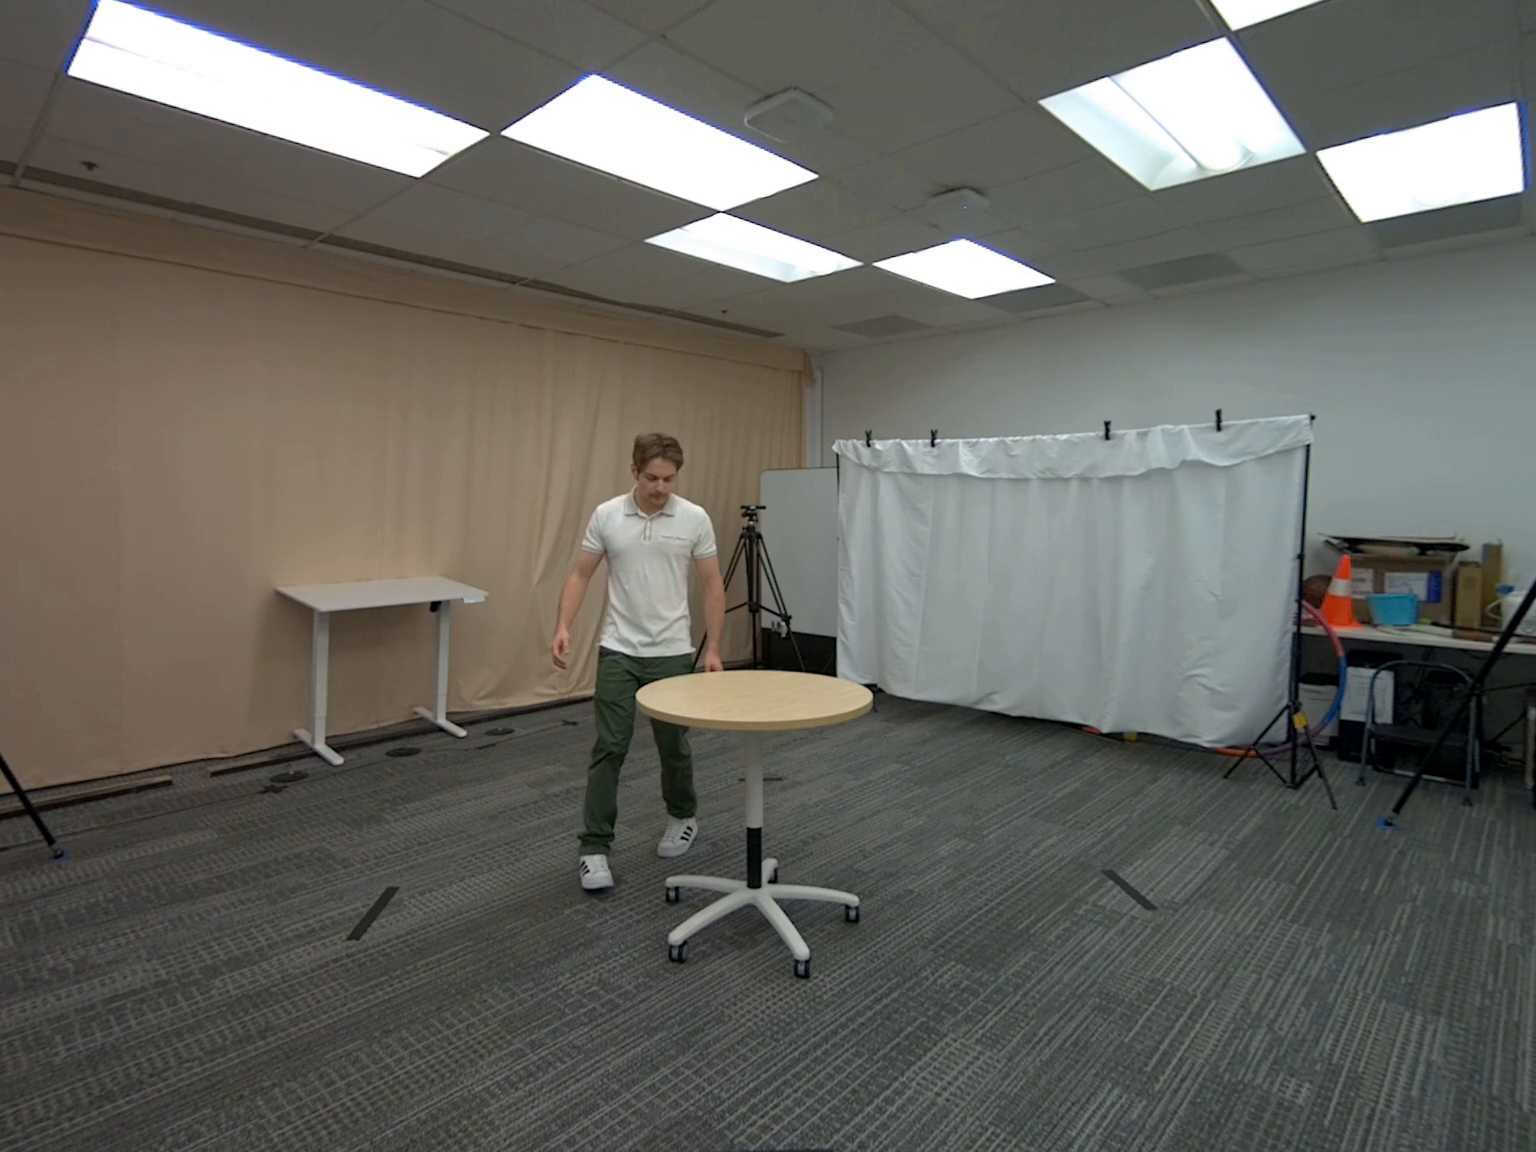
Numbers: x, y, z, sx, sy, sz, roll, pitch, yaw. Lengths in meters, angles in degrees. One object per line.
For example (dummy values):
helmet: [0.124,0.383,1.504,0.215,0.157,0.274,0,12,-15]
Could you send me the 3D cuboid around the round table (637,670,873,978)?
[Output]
round table: [-0.036,0.774,2.762,0.763,0.792,0.766,0,3,-2]
